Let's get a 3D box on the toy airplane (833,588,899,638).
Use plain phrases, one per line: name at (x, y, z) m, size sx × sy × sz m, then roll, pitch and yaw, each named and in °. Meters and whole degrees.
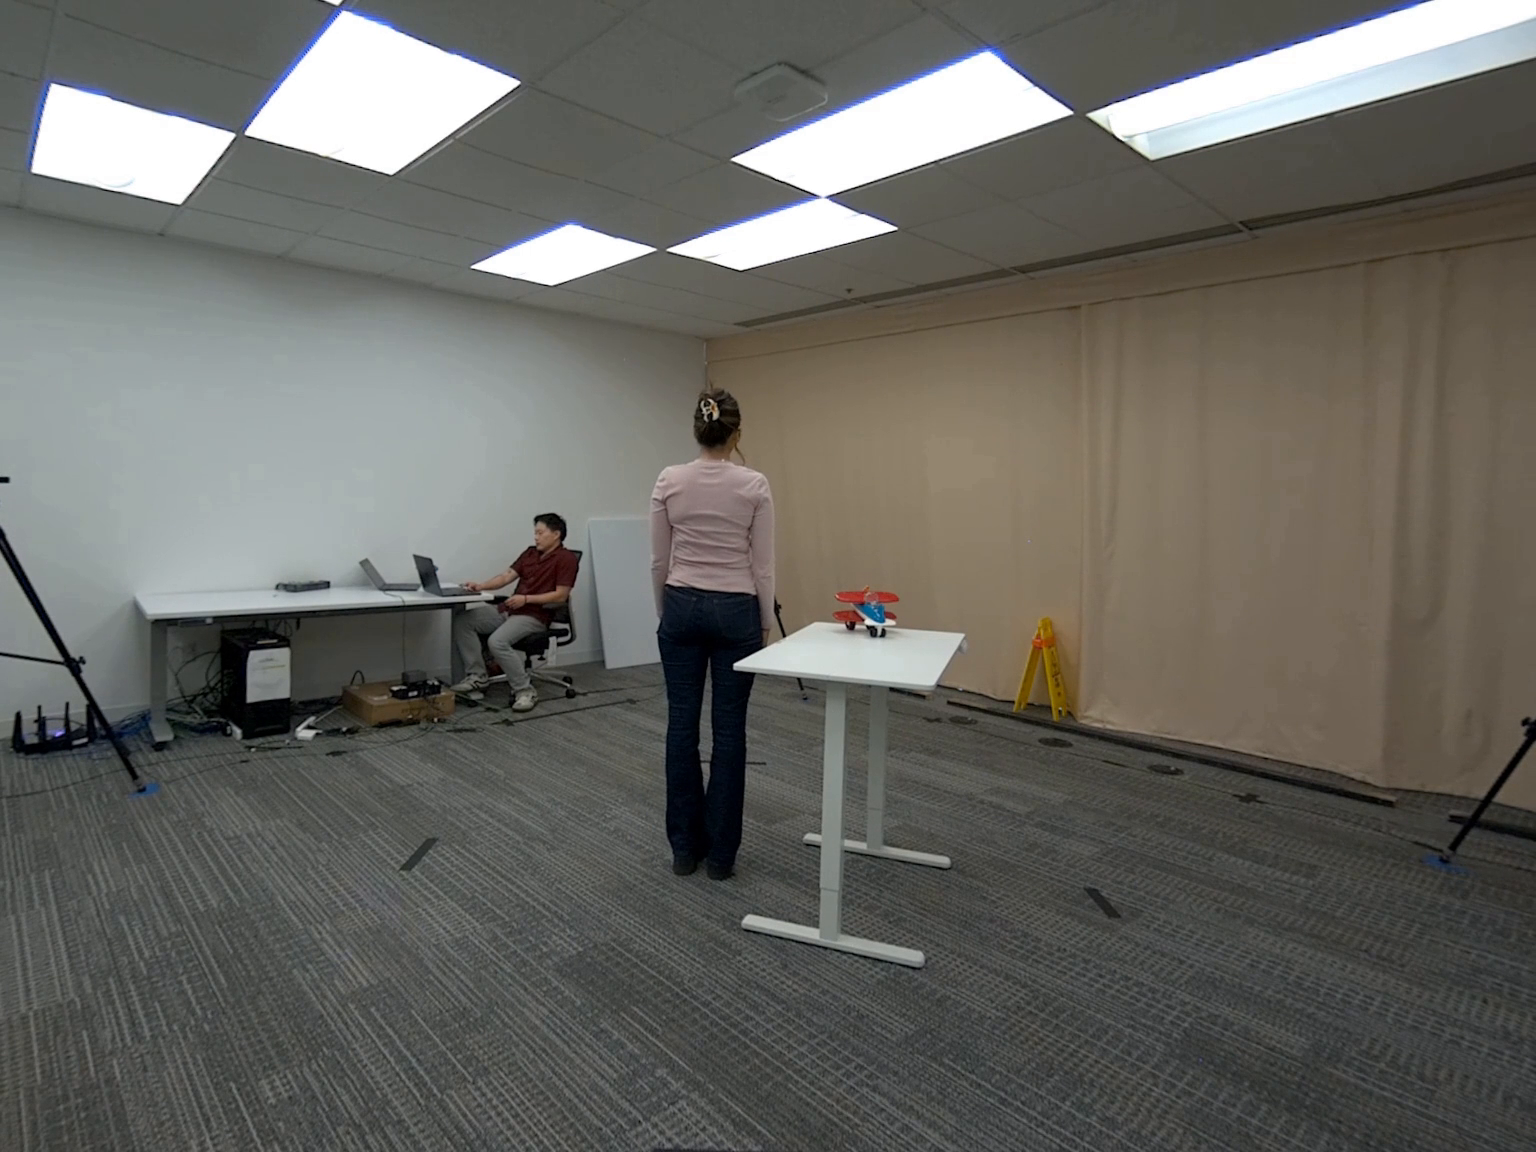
toy airplane at (0.401, 0.143, 3.248) m, size 0.245 × 0.156 × 0.266 m, roll -1°, pitch 4°, yaw -41°
